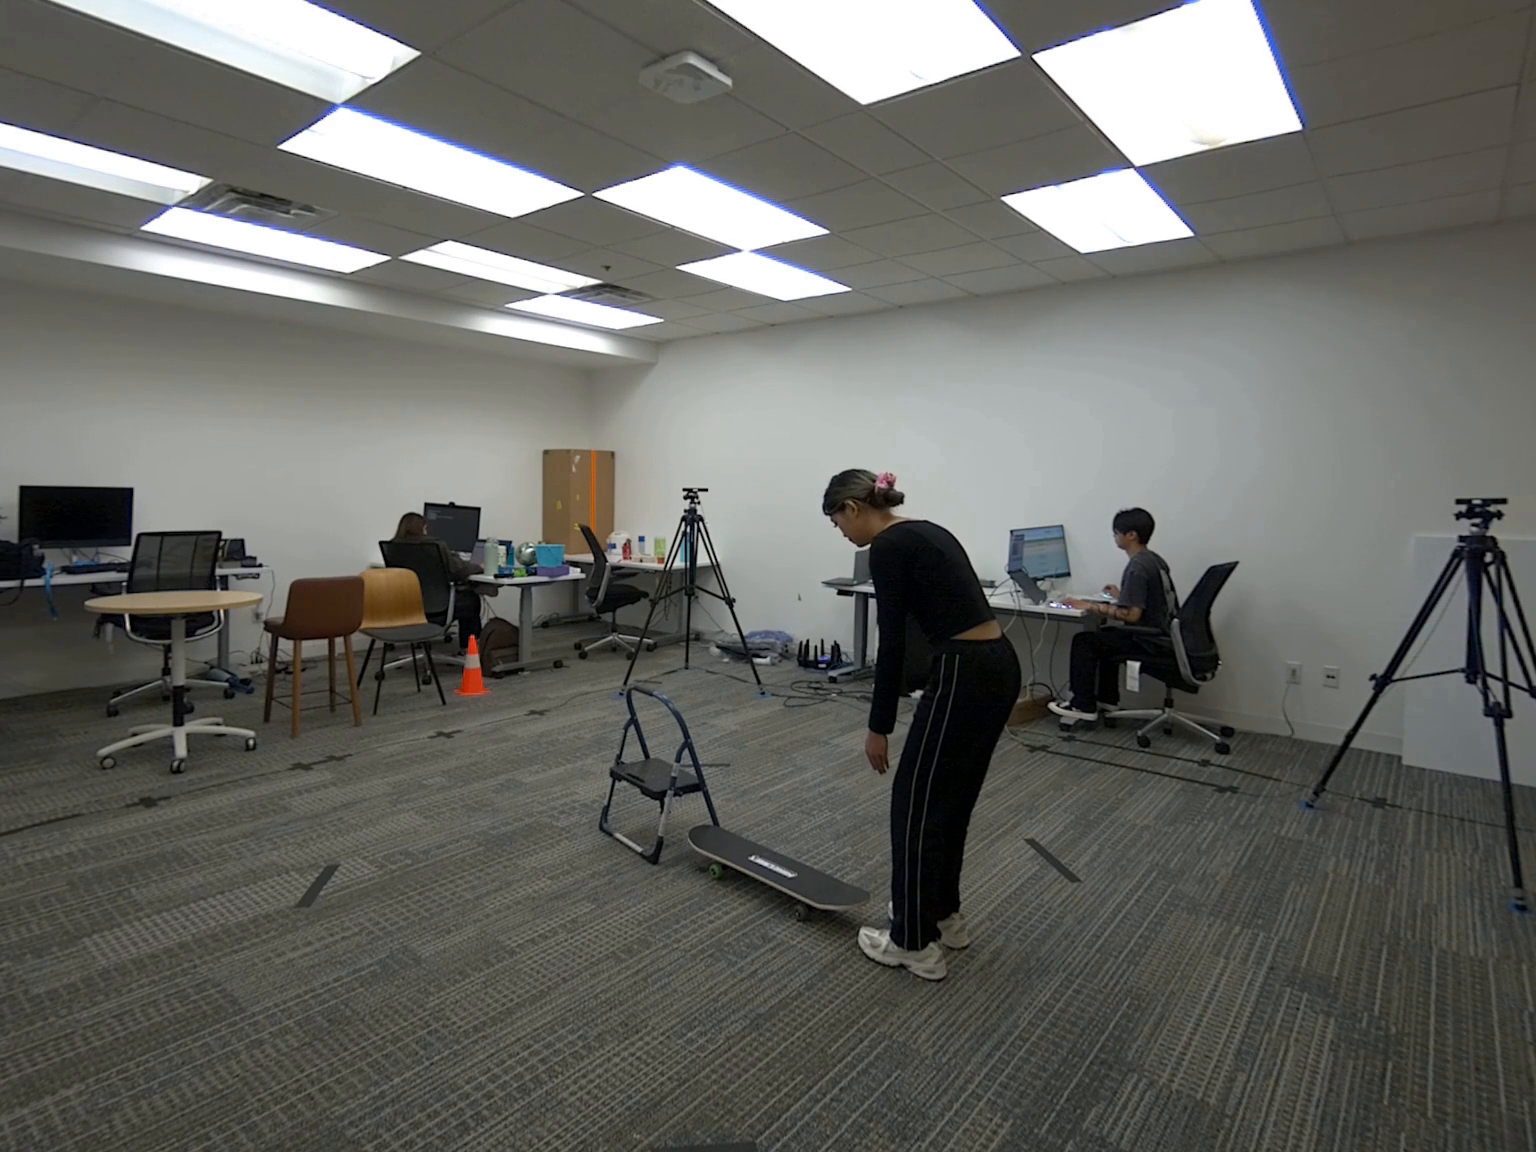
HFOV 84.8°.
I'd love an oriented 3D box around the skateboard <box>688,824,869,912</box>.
[{"bbox_3d":[0.012,1.037,2.944,0.813,0.110,0.188,6,8,44],"label":"skateboard"}]
